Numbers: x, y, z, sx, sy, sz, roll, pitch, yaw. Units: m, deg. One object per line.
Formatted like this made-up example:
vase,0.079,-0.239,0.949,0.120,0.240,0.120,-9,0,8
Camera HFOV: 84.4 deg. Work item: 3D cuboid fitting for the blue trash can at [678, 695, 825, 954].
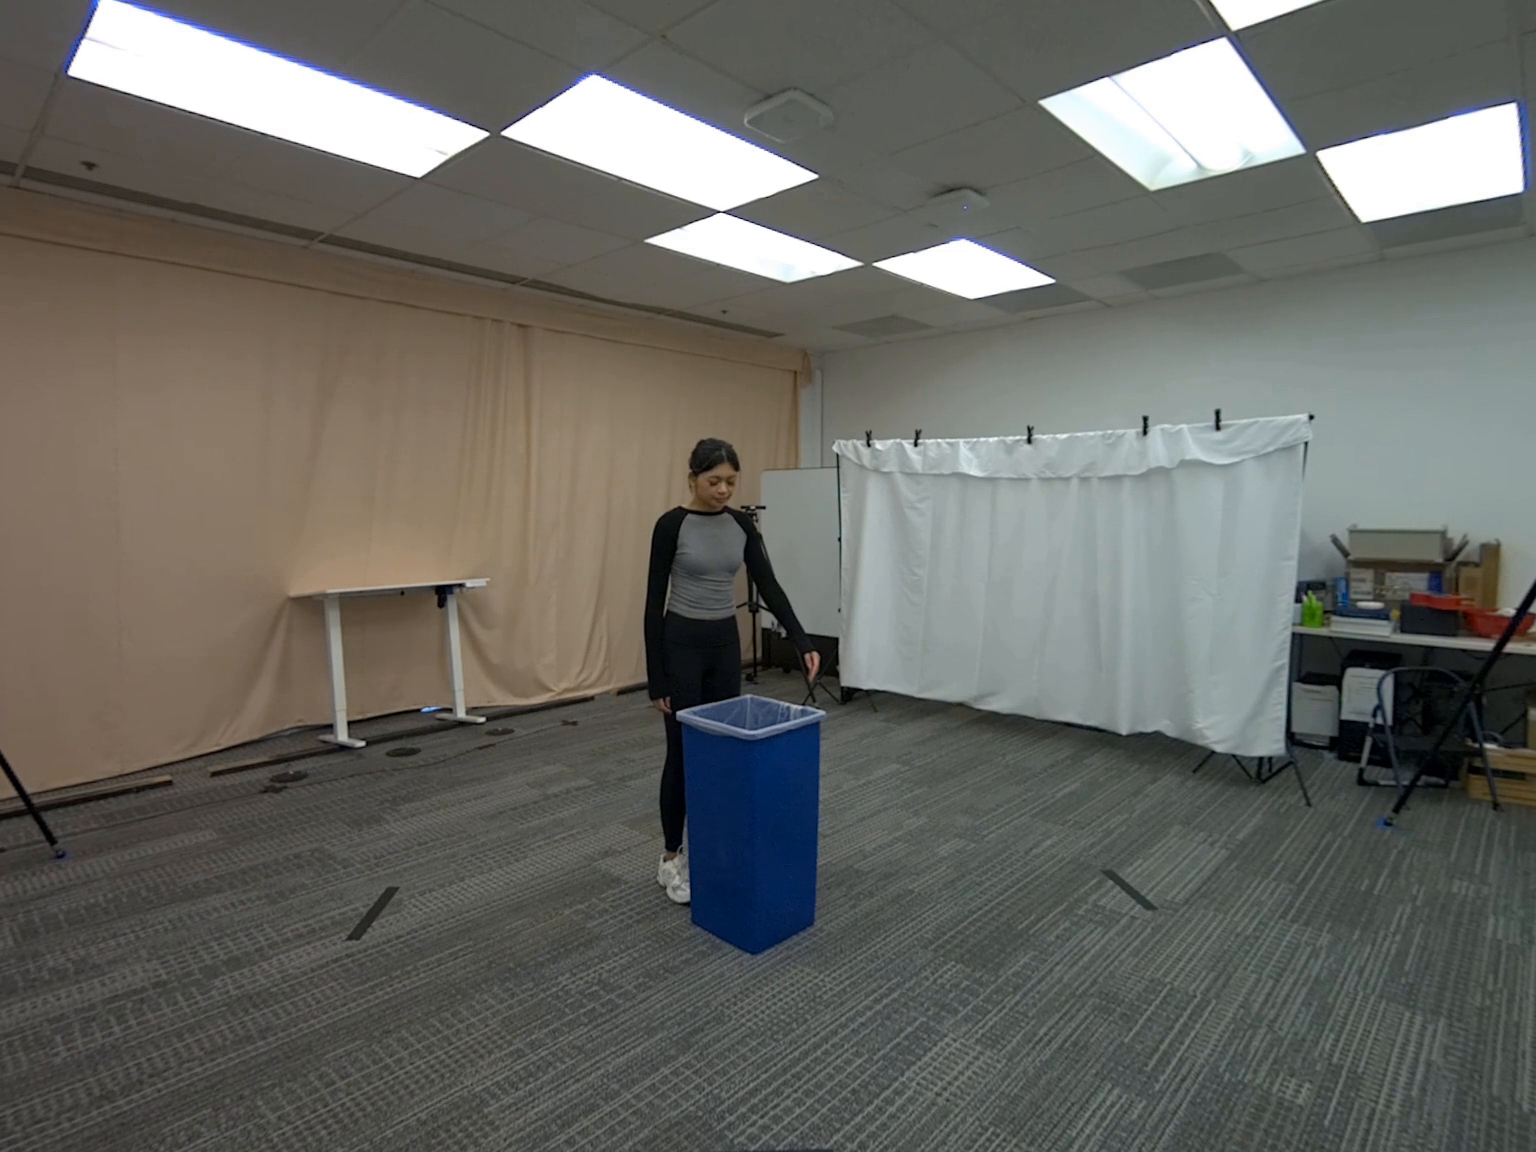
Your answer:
blue trash can,-0.049,0.803,2.784,0.391,0.712,0.362,3,4,45
